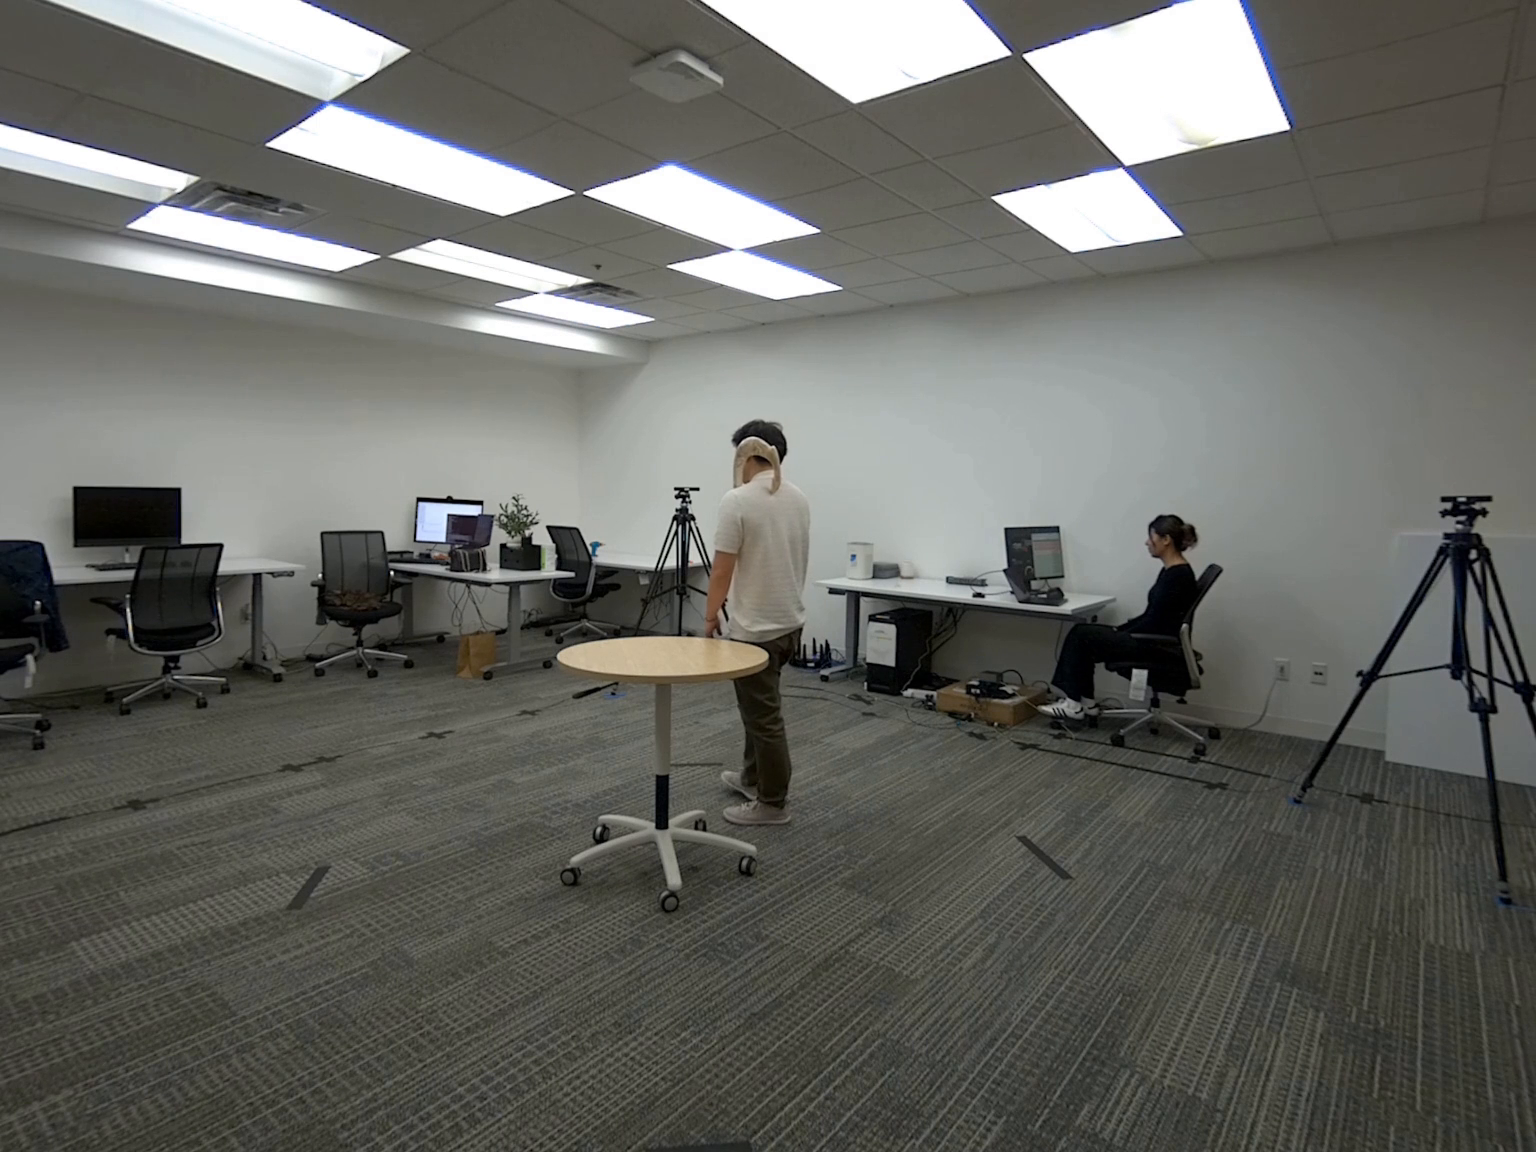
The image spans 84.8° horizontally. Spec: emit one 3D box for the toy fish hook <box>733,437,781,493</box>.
[{"bbox_3d":[-0.082,-0.329,3.470,0.232,0.498,0.047,34,36,26],"label":"toy fish hook"}]
